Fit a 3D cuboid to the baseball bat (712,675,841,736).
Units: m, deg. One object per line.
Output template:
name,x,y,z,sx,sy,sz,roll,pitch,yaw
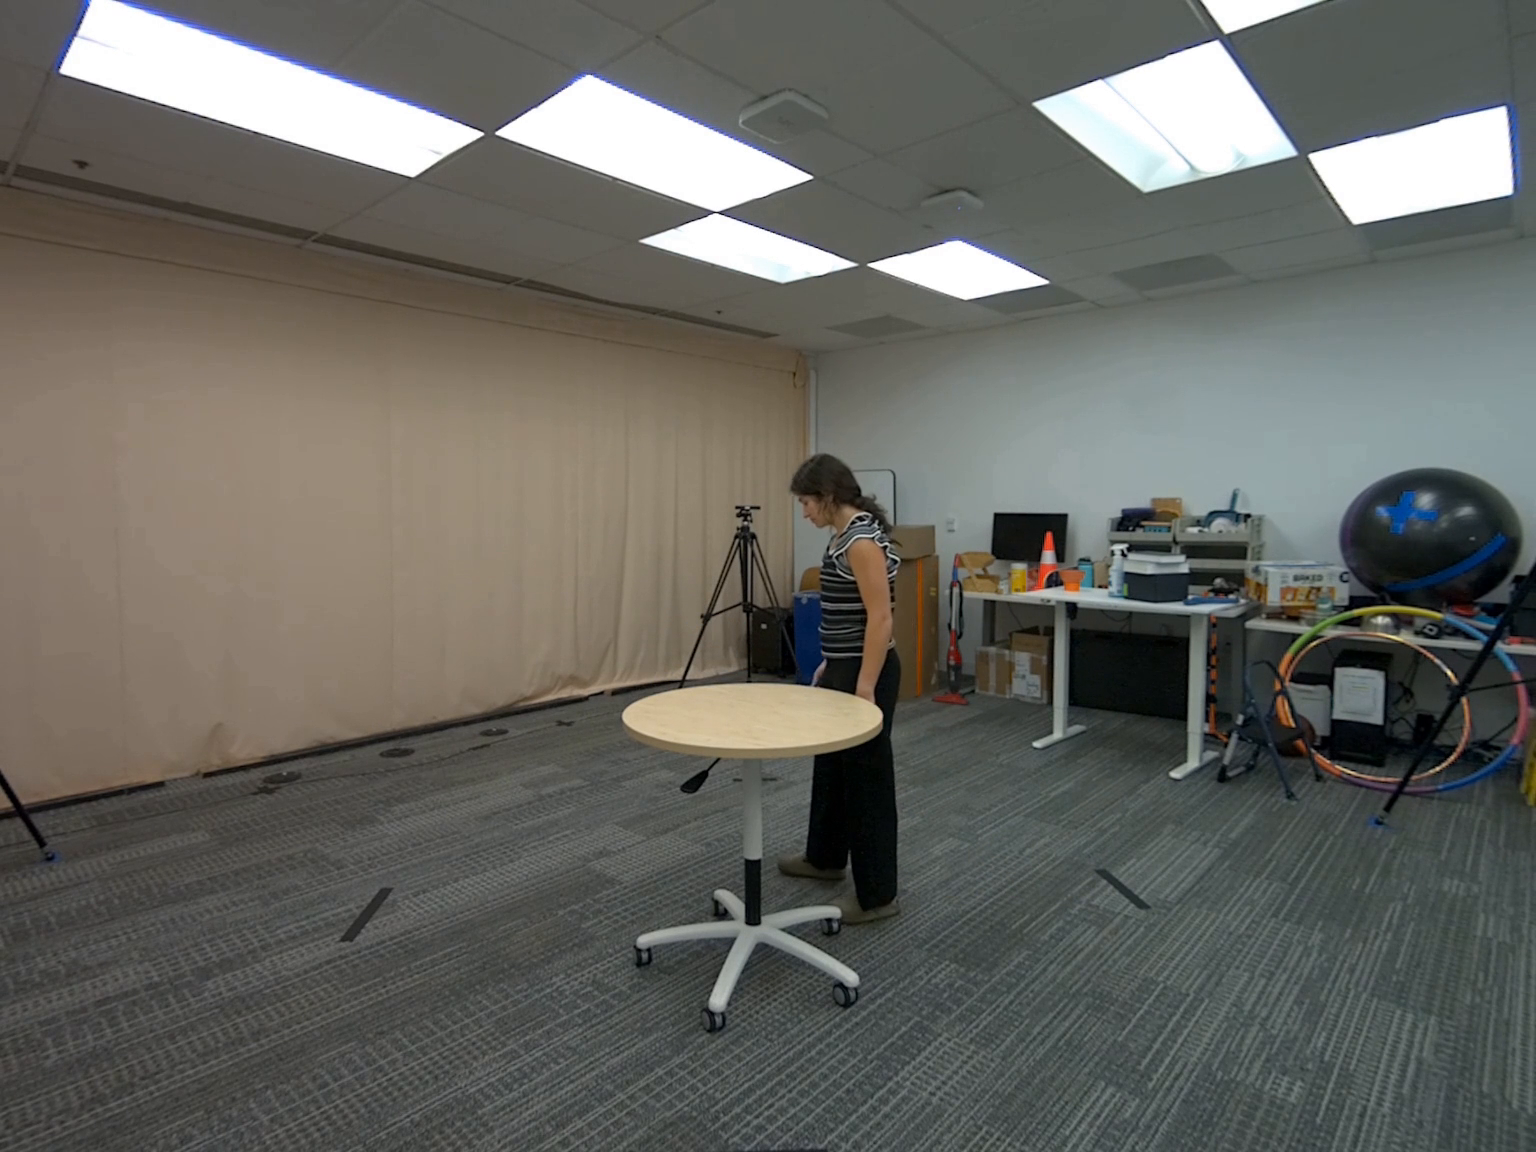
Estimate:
baseball bat,0.031,0.483,3.253,0.553,0.090,0.086,-25,-10,31
